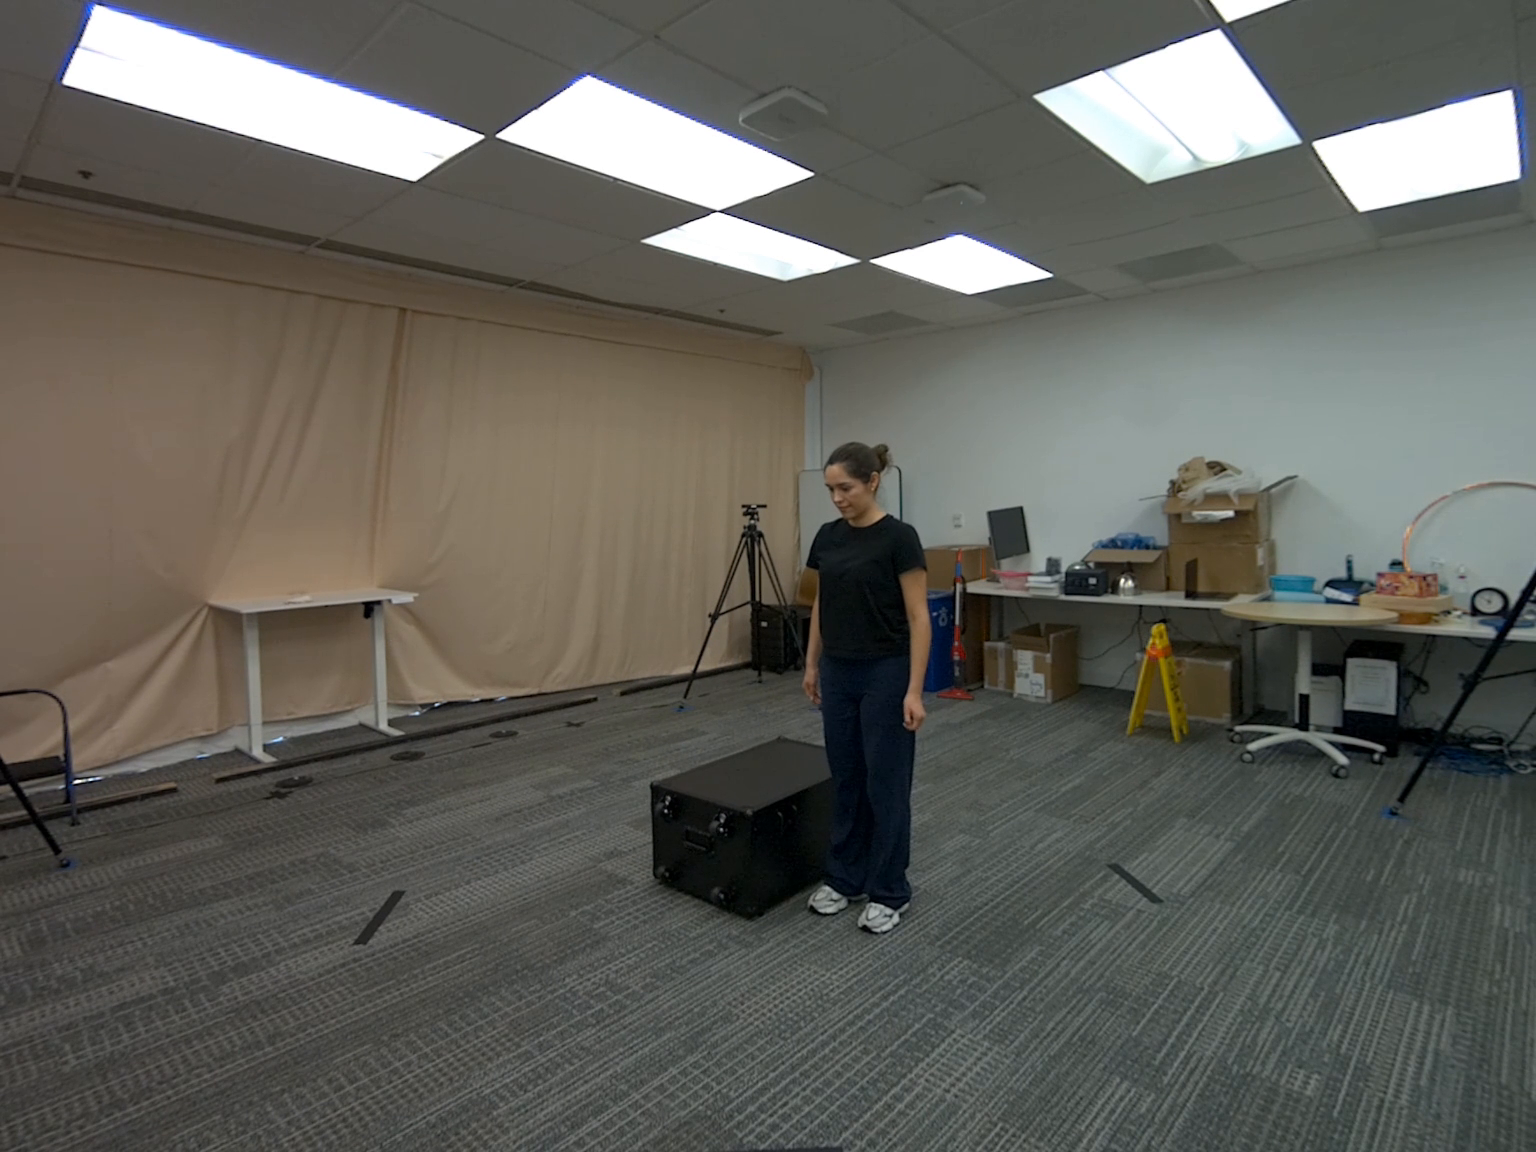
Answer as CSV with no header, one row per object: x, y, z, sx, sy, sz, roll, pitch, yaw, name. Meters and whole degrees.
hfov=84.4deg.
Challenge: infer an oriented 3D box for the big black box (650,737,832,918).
-0.011,0.930,3.213,0.538,0.395,0.836,3,5,40,big black box
